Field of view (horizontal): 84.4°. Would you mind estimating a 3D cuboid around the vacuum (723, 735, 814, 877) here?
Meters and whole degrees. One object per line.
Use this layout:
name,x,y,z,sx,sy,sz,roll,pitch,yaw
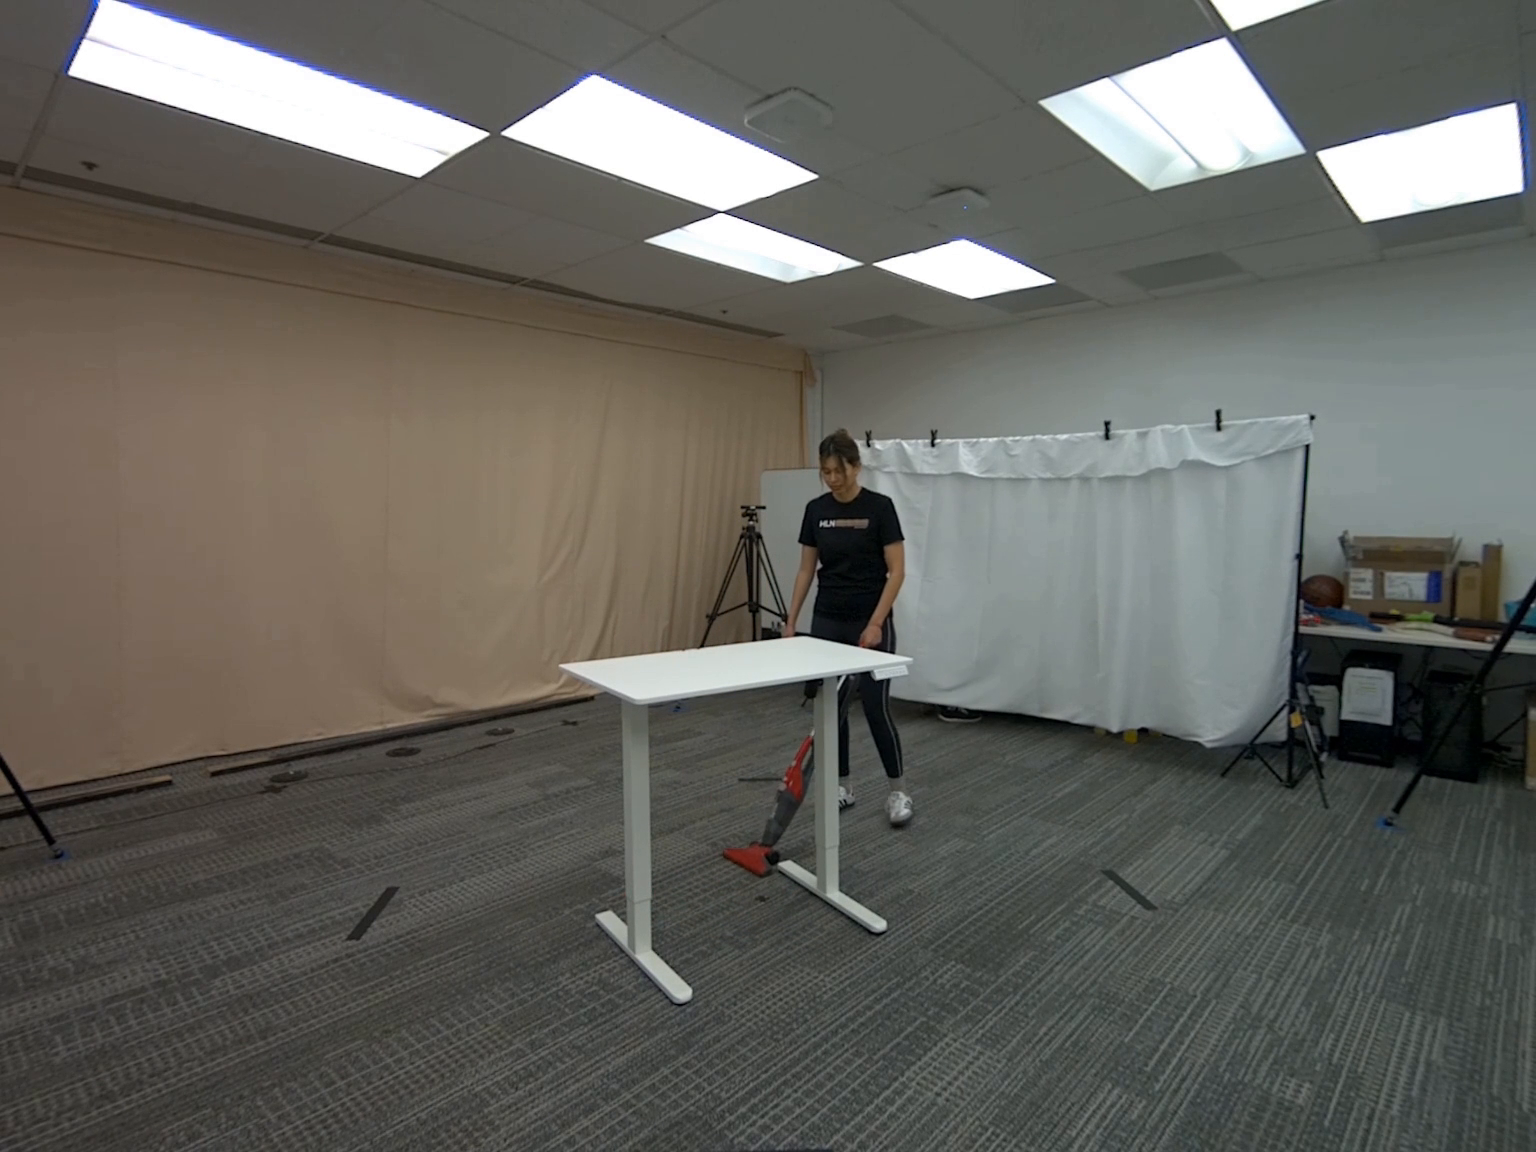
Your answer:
vacuum,0.187,0.699,3.464,0.261,1.048,0.139,7,-33,46
